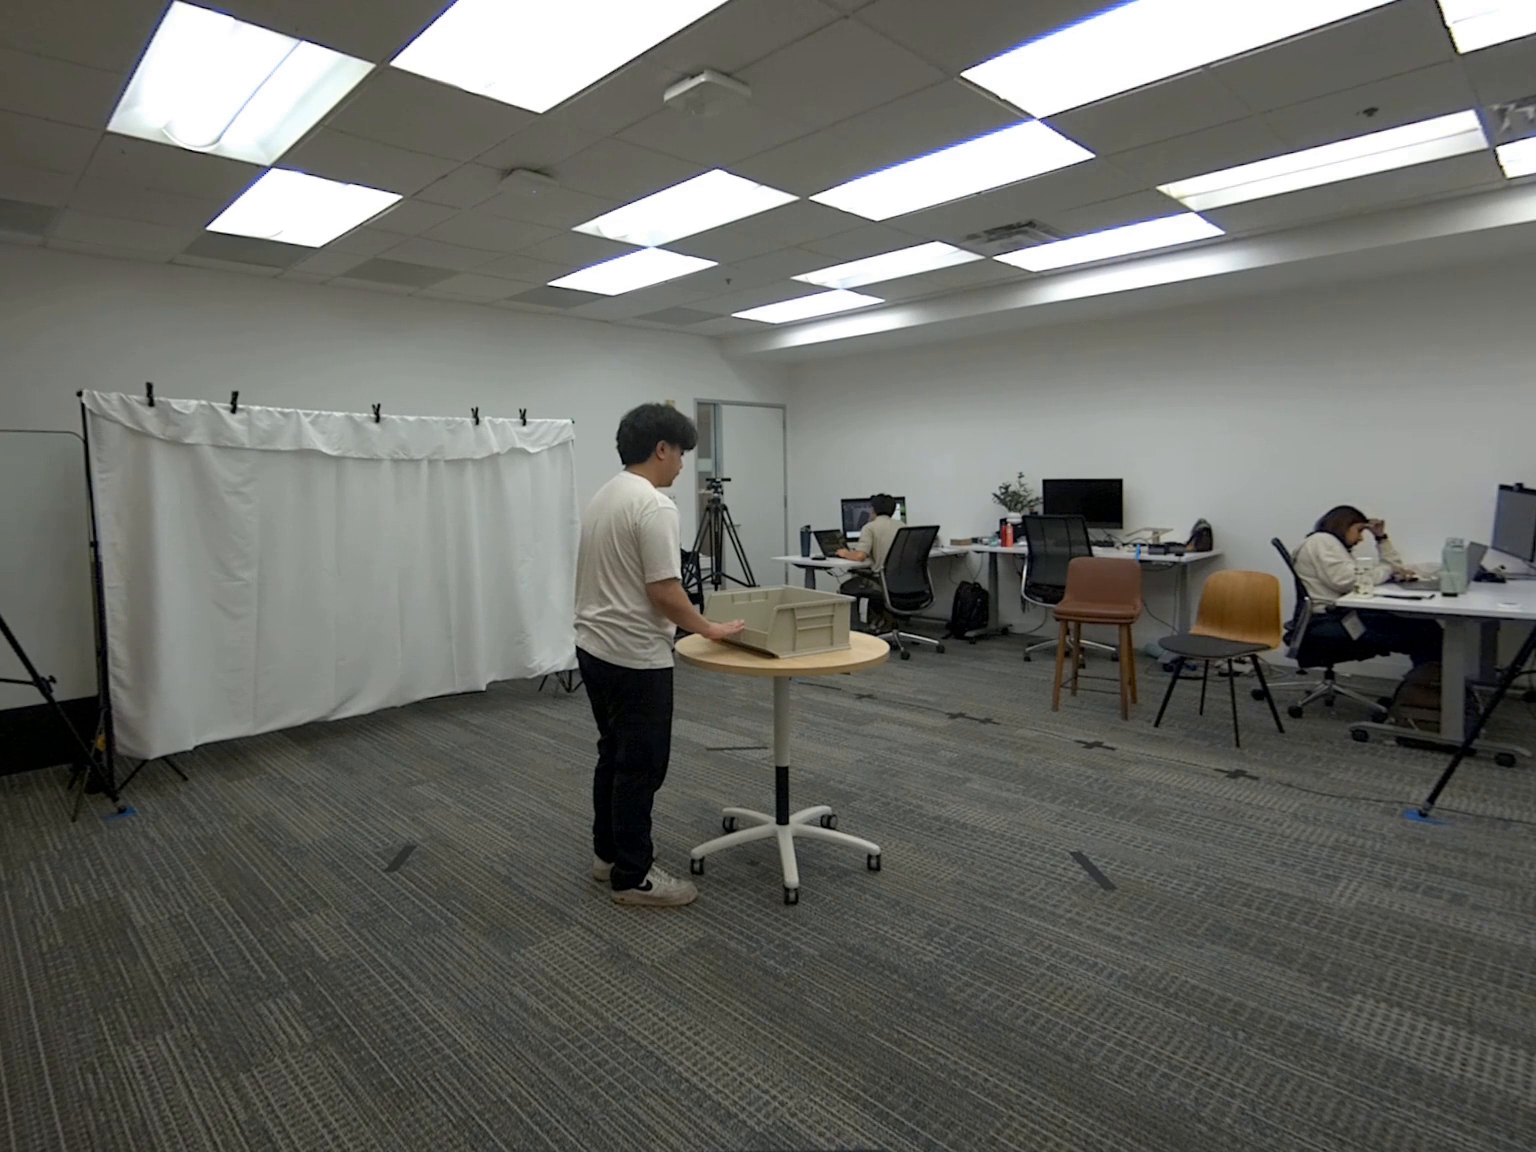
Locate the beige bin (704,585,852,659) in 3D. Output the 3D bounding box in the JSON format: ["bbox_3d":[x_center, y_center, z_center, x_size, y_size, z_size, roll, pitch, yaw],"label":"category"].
[{"bbox_3d":[0.035,0.156,3.059,0.368,0.188,0.434,-4,6,-34],"label":"beige bin"}]
